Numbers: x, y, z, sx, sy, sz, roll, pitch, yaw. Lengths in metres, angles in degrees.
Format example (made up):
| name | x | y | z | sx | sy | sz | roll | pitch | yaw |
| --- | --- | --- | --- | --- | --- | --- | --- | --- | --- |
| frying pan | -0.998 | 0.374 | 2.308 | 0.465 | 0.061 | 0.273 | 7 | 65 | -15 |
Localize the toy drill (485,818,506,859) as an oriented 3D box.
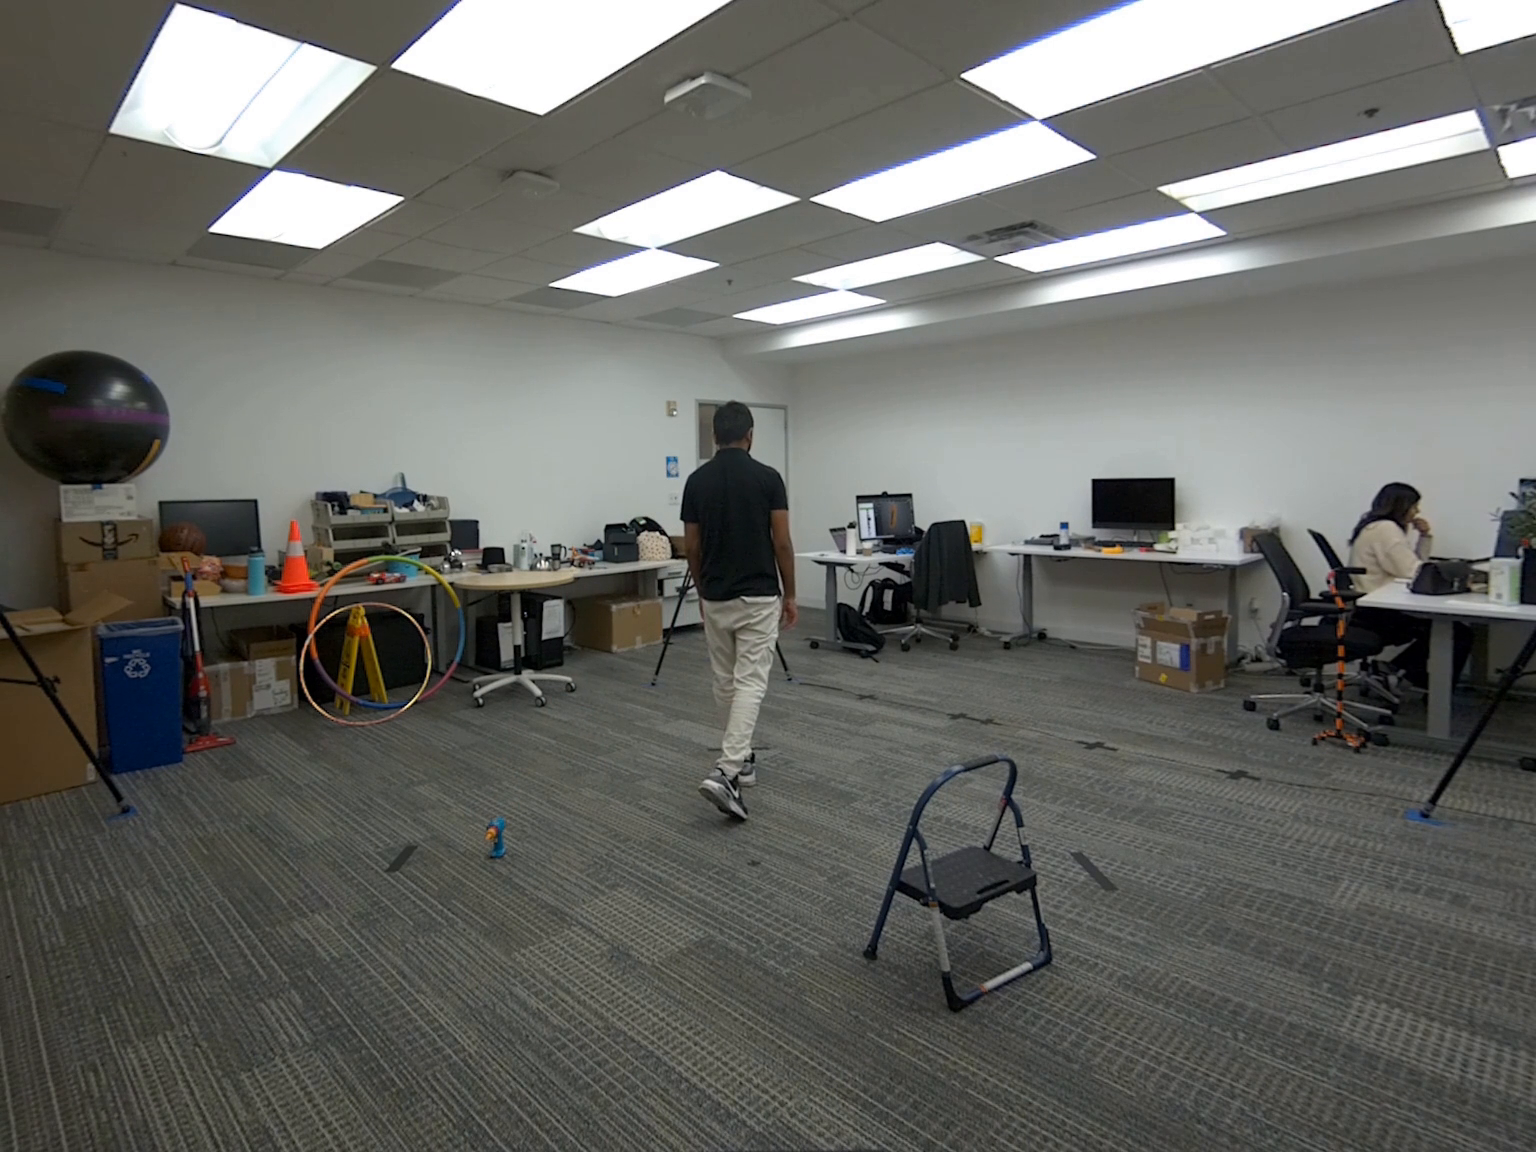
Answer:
| name | x | y | z | sx | sy | sz | roll | pitch | yaw |
| --- | --- | --- | --- | --- | --- | --- | --- | --- | --- |
| toy drill | -1.030 | 0.988 | 3.184 | 0.061 | 0.145 | 0.169 | -5 | 5 | 5 |
